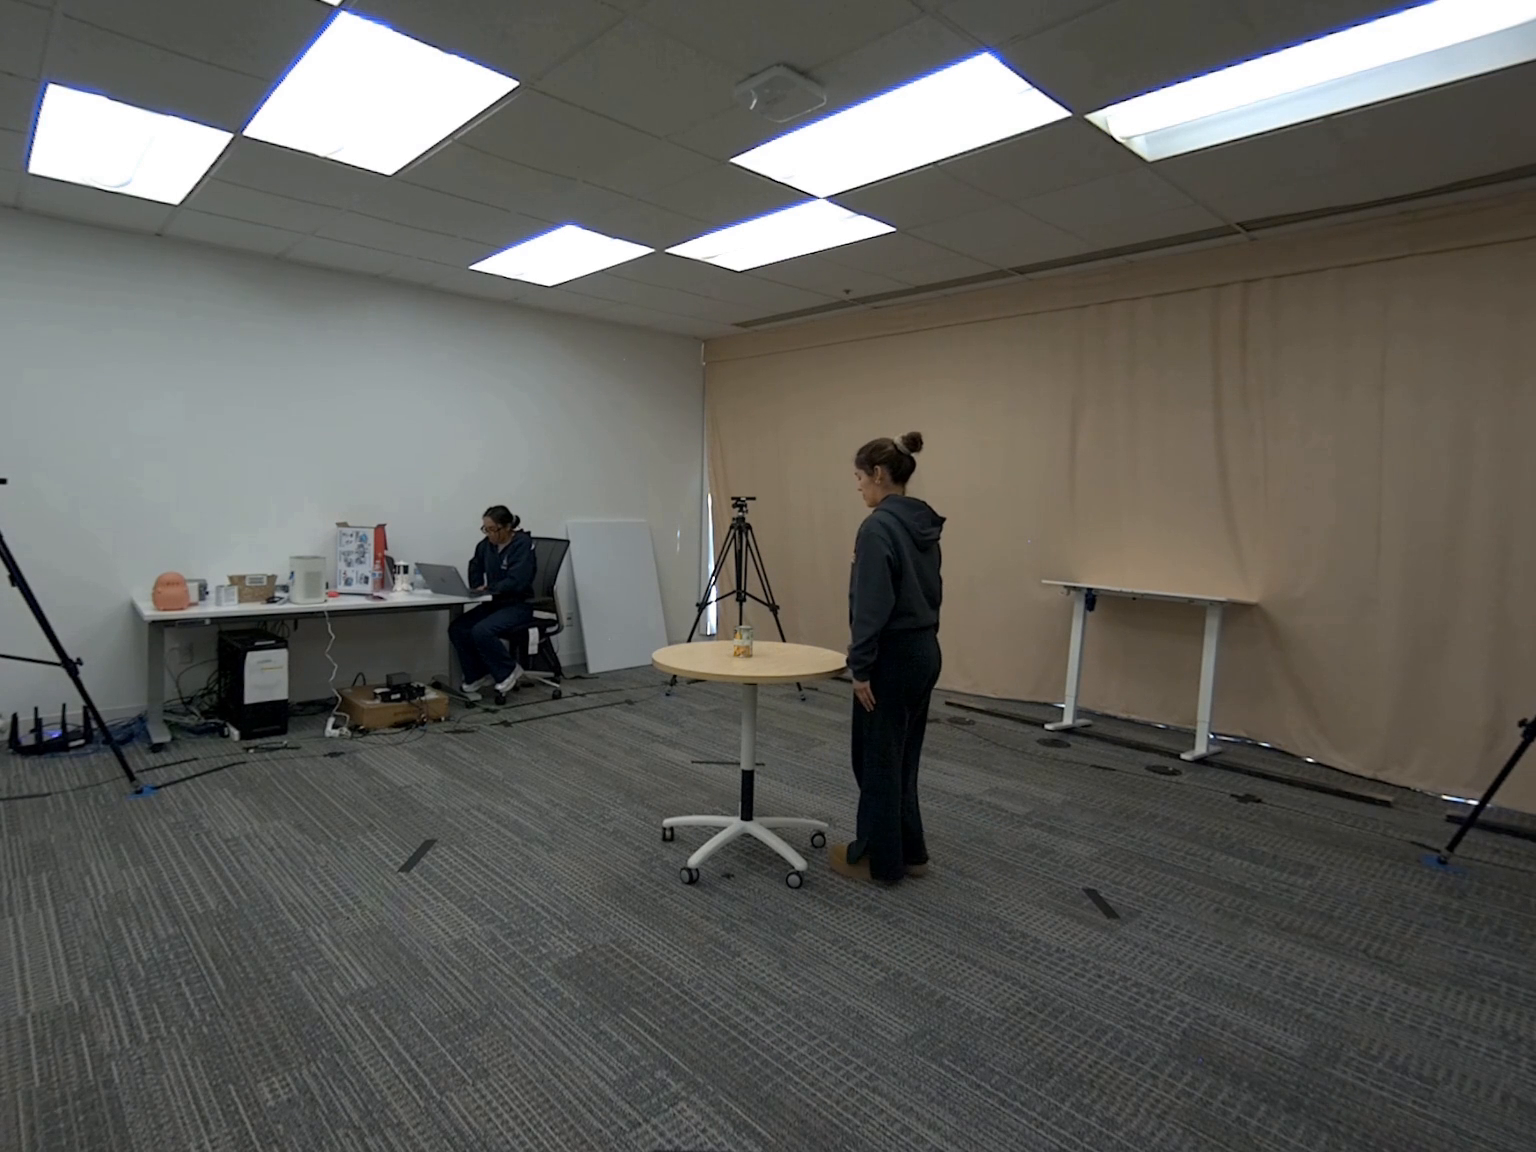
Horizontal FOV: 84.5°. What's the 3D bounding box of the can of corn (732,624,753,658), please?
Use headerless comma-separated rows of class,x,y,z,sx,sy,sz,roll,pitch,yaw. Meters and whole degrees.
can of corn,-0.098,0.250,3.275,0.074,0.110,0.074,2,6,-2
